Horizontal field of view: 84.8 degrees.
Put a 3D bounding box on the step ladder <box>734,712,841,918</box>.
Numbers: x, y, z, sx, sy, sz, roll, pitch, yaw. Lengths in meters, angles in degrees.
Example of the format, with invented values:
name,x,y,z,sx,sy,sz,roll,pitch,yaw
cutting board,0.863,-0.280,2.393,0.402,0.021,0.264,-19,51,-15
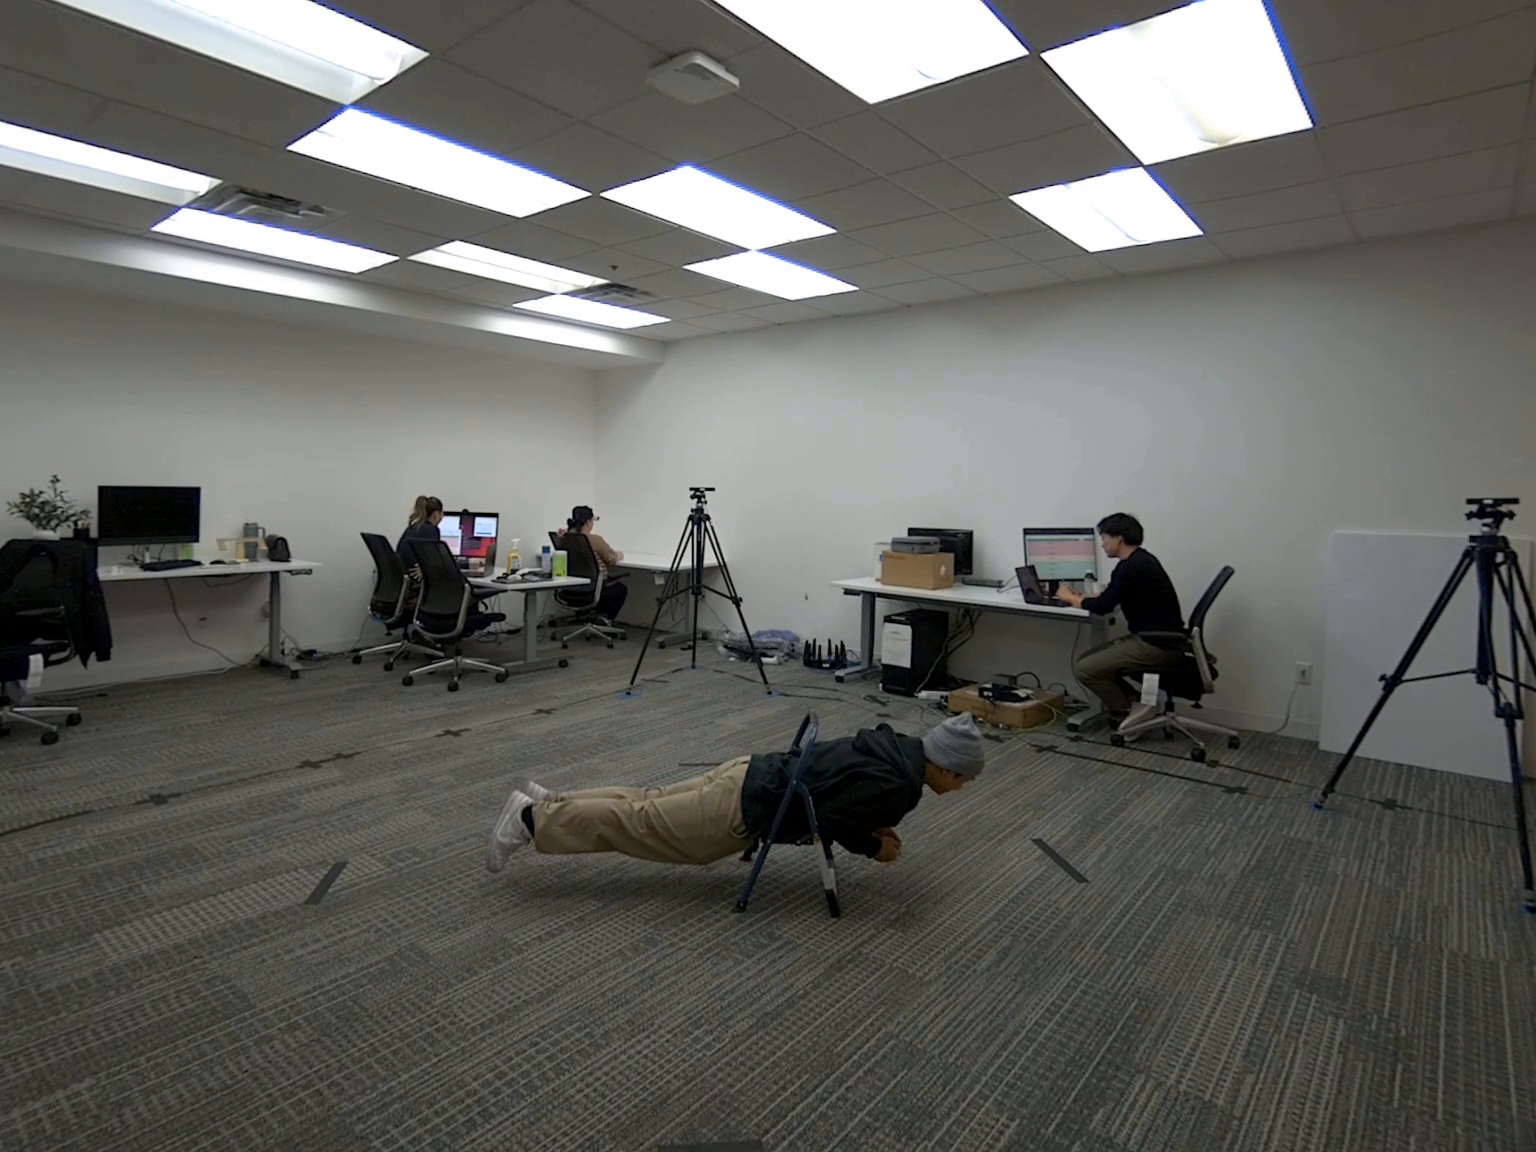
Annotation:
name,x,y,z,sx,sy,sz,roll,pitch,yaw
step ladder,0.069,0.788,2.970,0.350,0.604,0.431,3,4,1
